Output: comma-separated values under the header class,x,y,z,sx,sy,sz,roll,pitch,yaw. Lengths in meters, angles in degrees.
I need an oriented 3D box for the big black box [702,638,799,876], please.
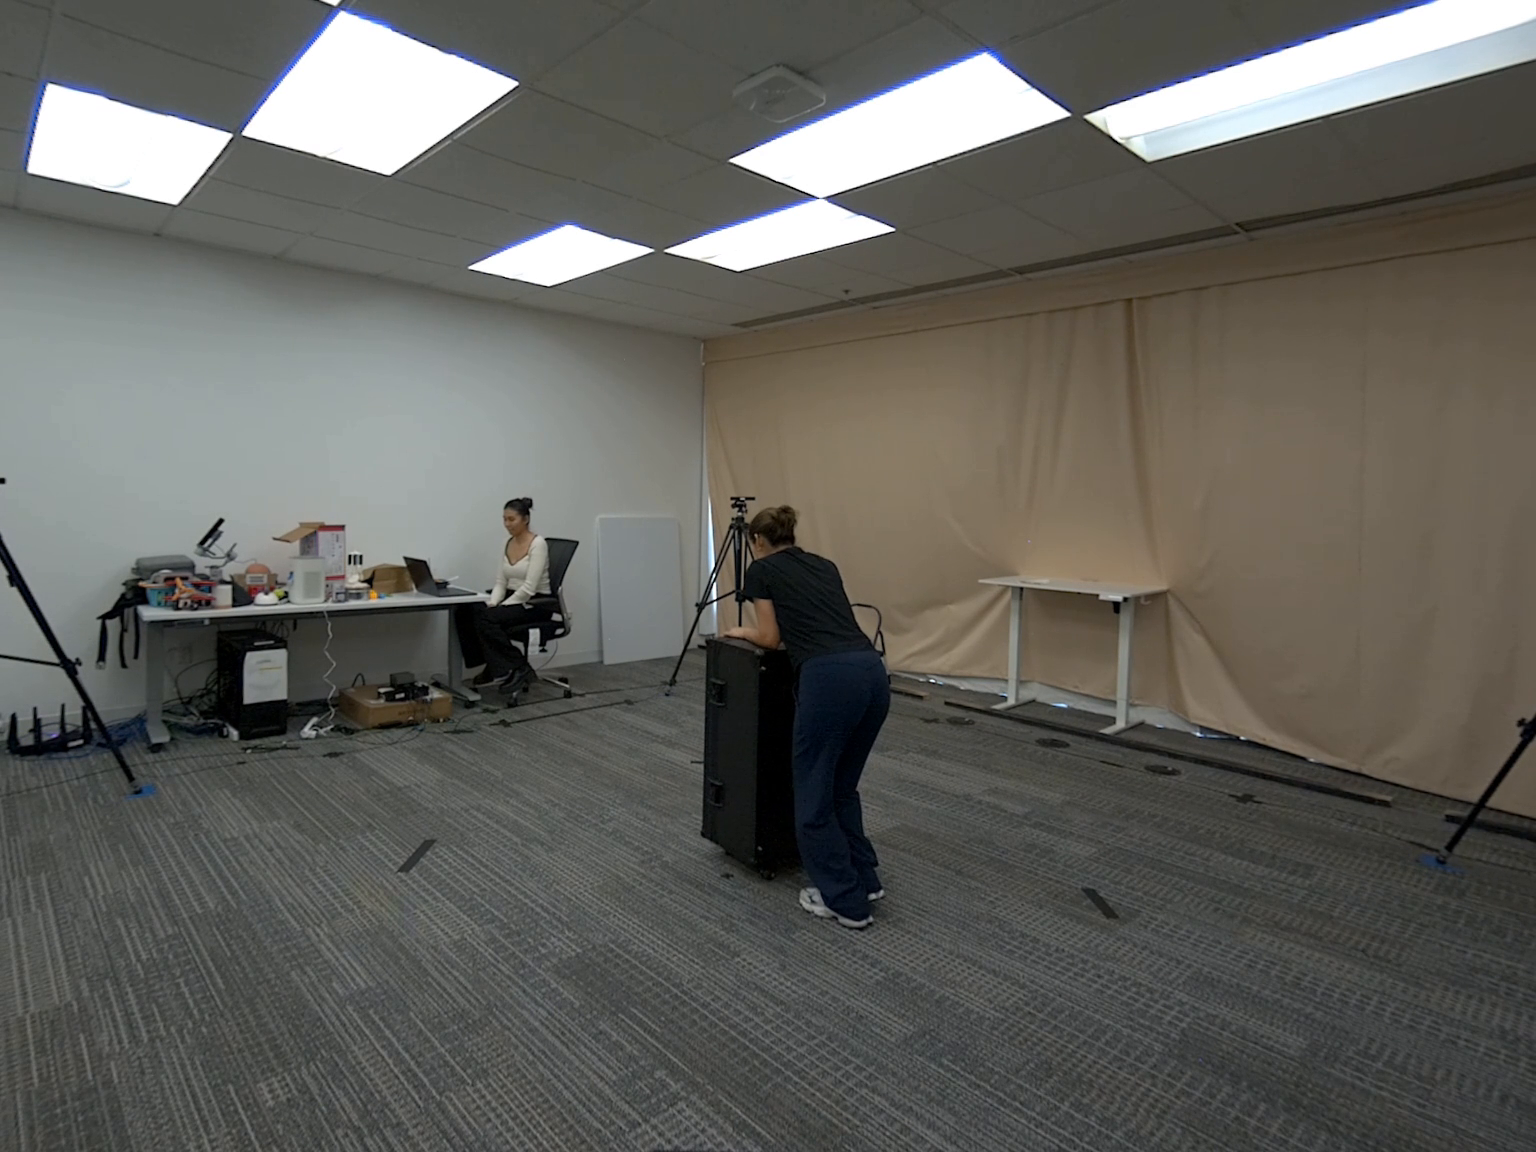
class,x,y,z,sx,sy,sz,roll,pitch,yaw
big black box,0.049,0.618,3.244,0.510,0.860,0.406,-1,3,-35
